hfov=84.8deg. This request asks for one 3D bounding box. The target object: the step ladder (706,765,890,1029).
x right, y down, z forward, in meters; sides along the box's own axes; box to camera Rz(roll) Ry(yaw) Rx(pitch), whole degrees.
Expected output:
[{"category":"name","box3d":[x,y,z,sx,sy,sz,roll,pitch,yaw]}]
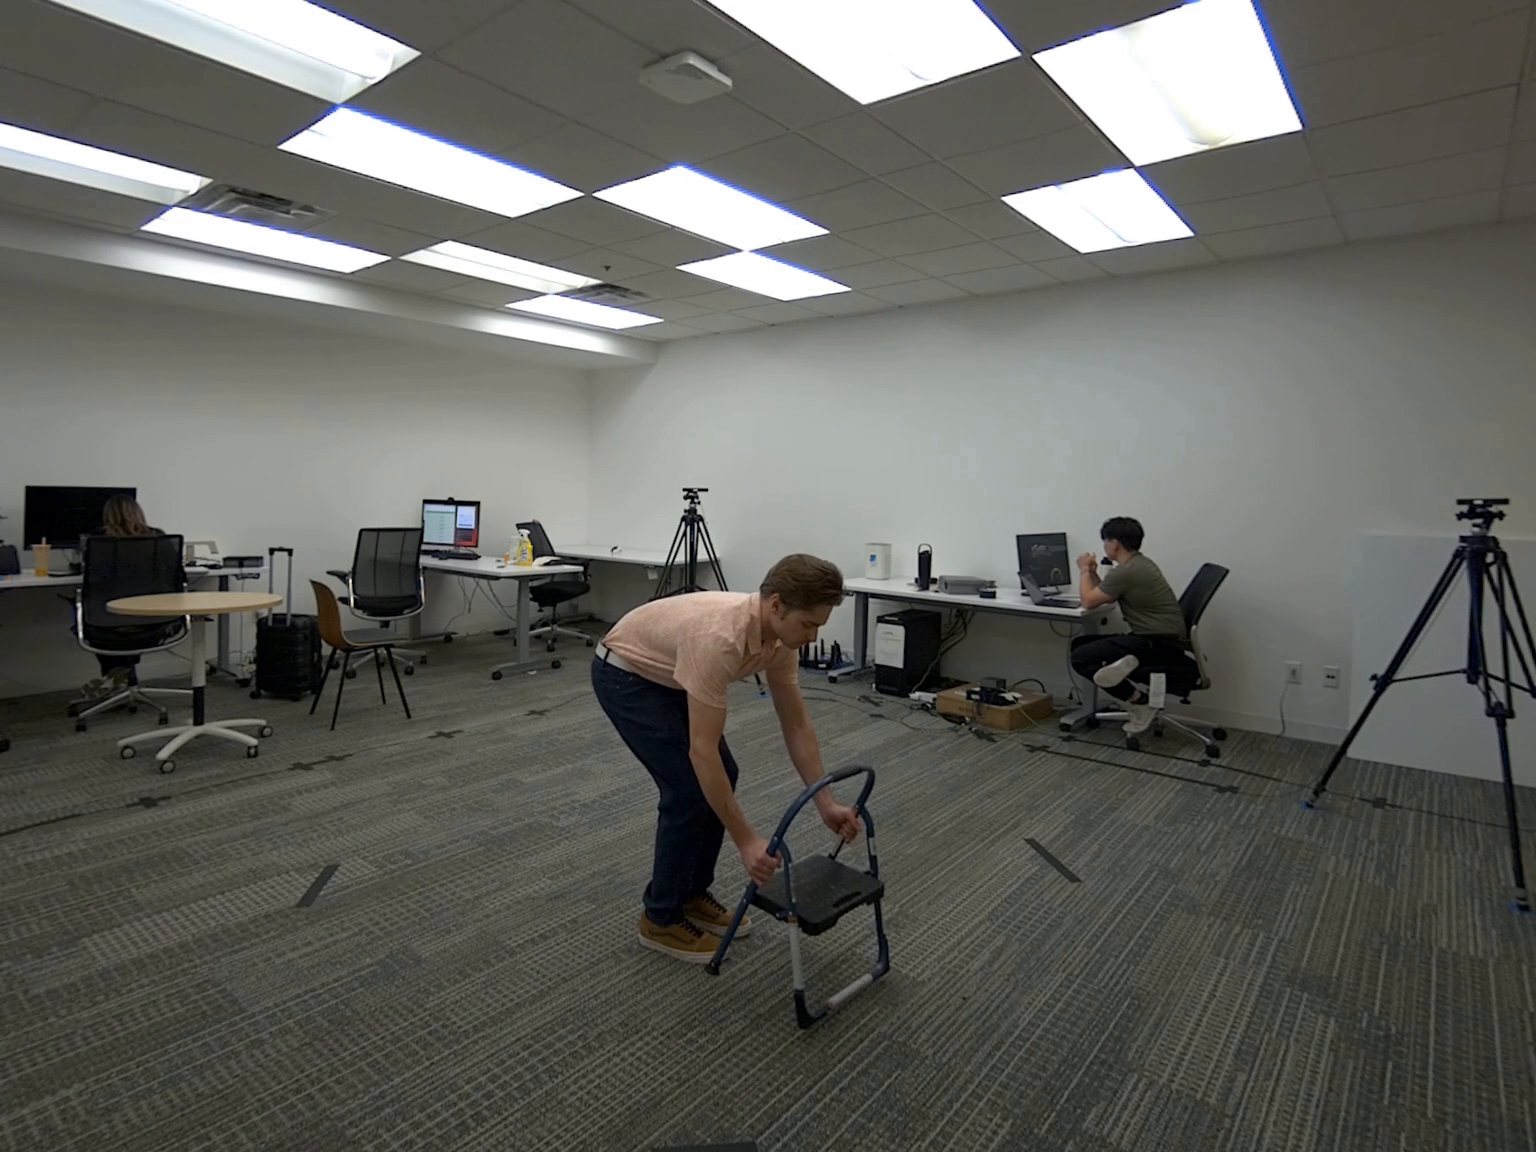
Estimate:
[{"category":"step ladder","box3d":[0.115,0.813,2.368,0.362,0.603,0.417,10,6,39]}]
